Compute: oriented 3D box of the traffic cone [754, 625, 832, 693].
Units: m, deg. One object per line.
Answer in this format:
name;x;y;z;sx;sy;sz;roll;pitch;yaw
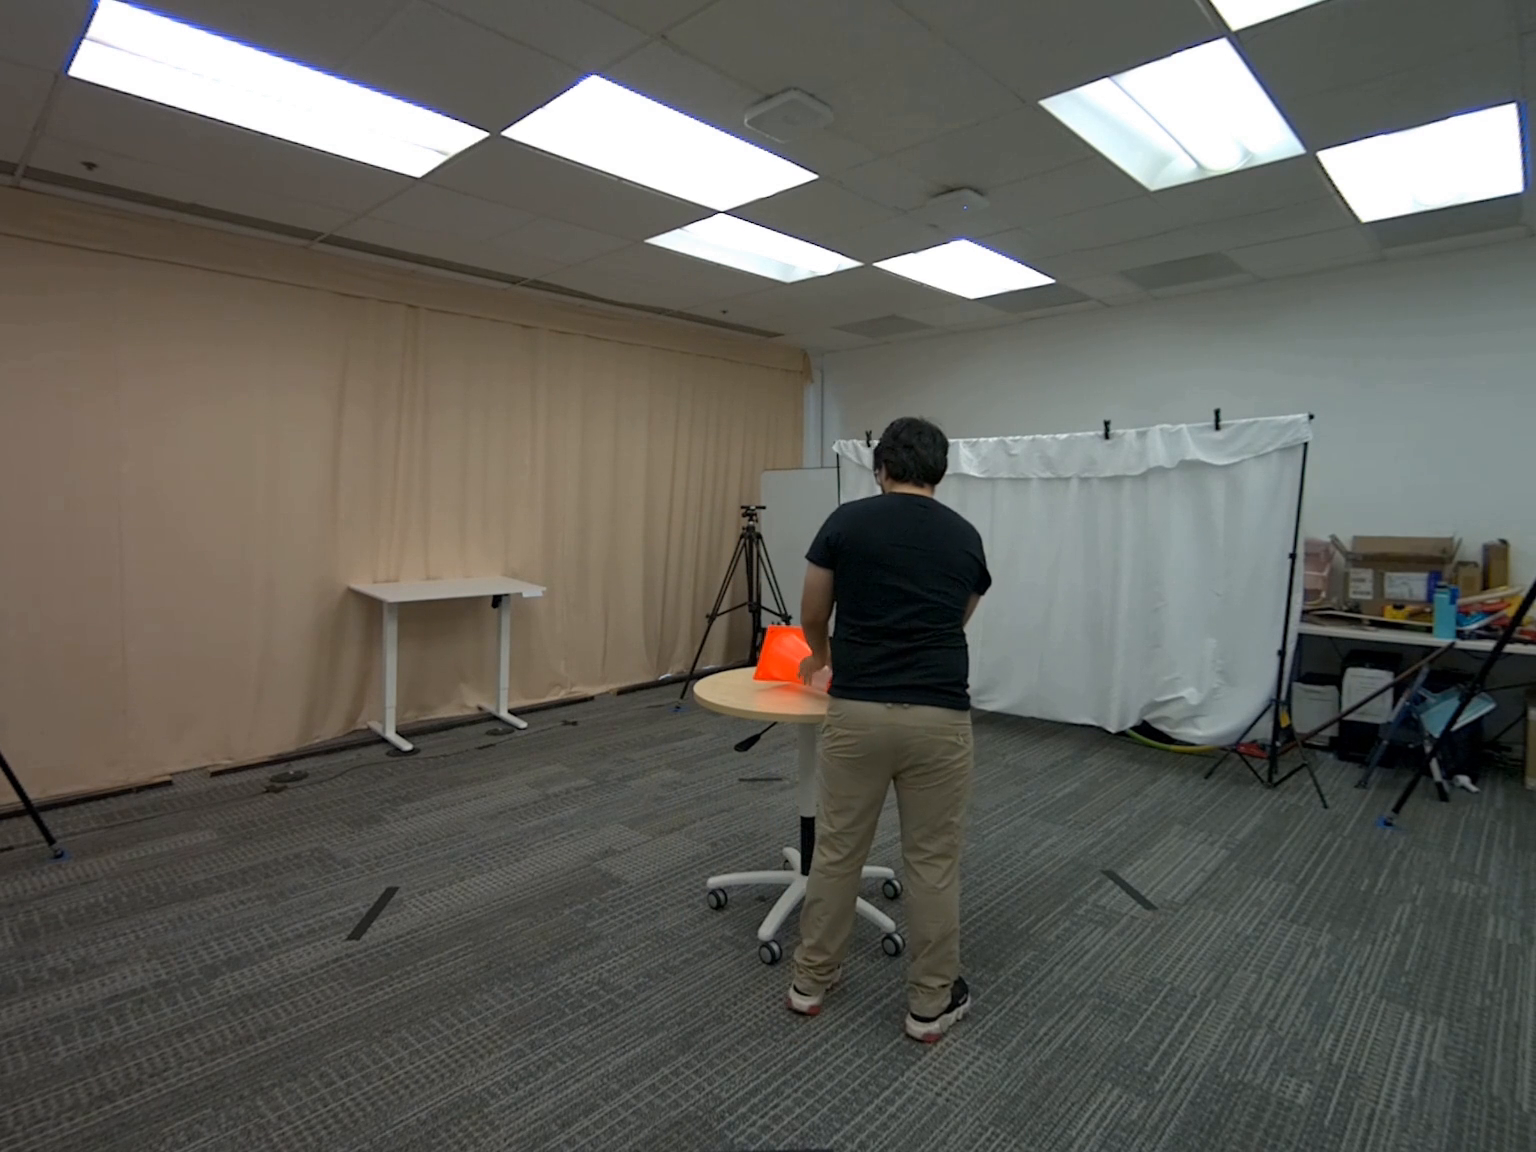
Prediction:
traffic cone;0.179;0.329;2.702;0.196;0.204;0.398;5;17;-43
